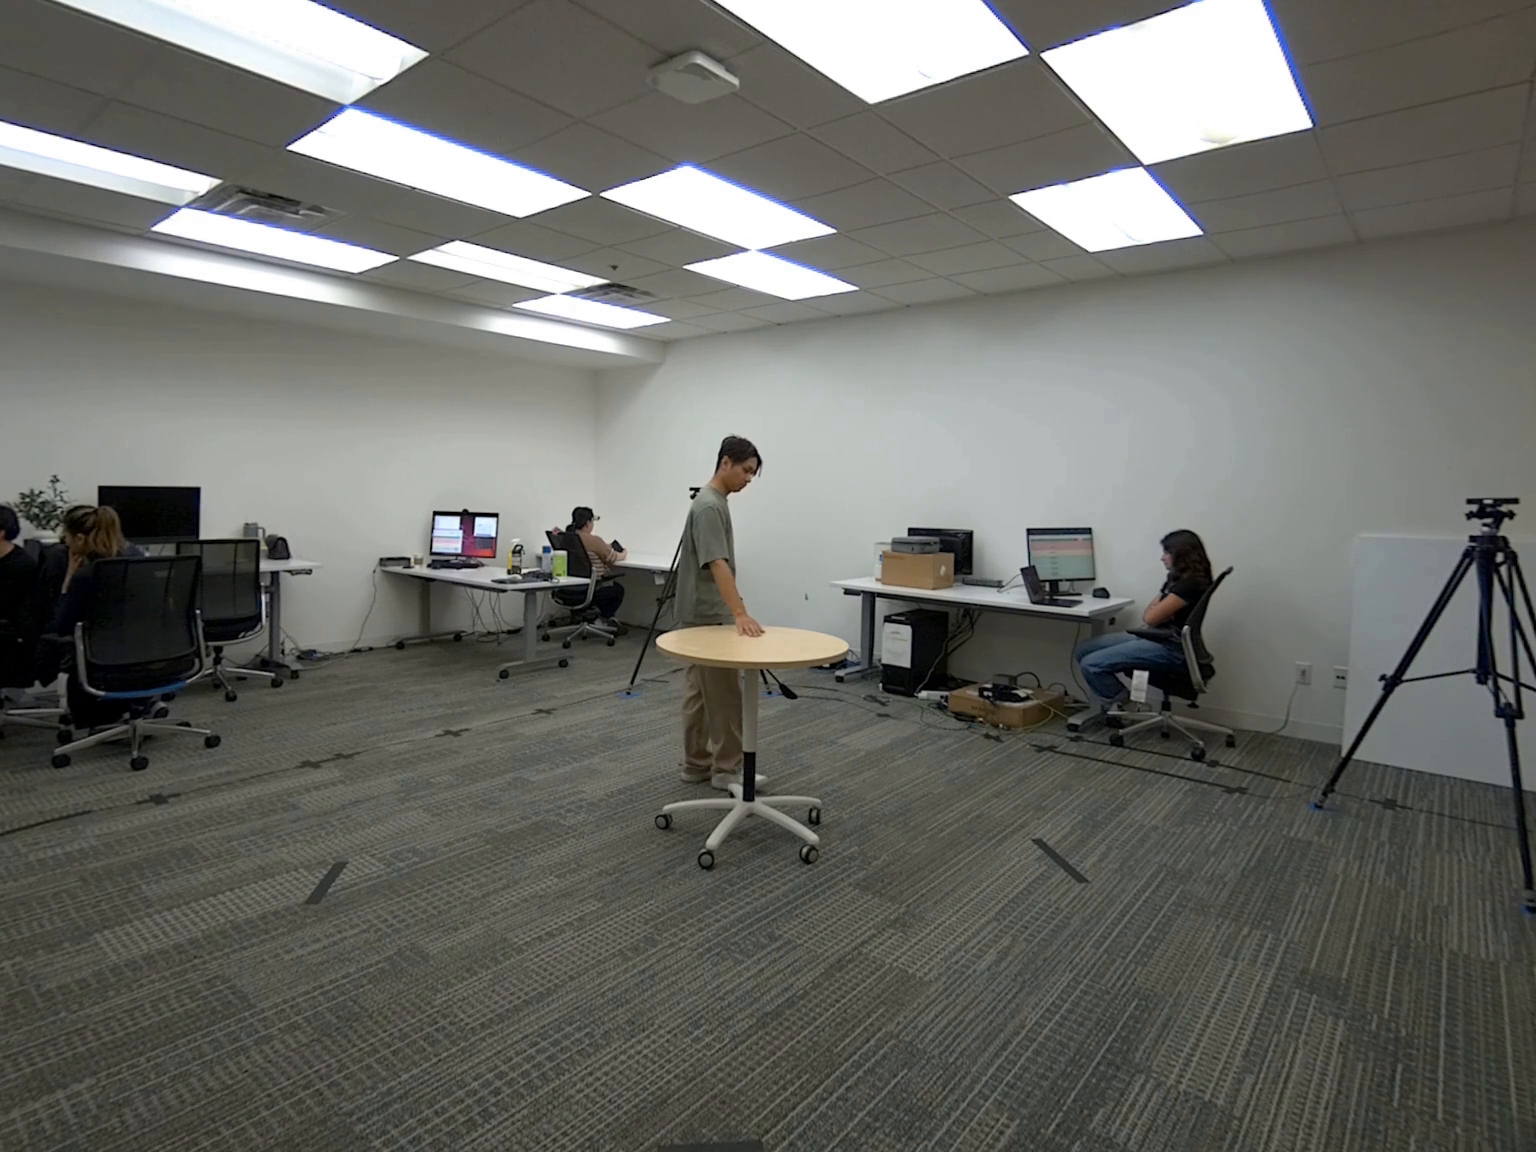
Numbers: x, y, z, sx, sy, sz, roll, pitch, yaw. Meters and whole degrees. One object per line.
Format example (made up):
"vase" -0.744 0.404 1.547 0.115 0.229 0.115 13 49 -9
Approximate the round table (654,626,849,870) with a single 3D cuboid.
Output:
"round table" -0.083 0.652 3.415 0.763 0.791 0.768 1 4 -2
